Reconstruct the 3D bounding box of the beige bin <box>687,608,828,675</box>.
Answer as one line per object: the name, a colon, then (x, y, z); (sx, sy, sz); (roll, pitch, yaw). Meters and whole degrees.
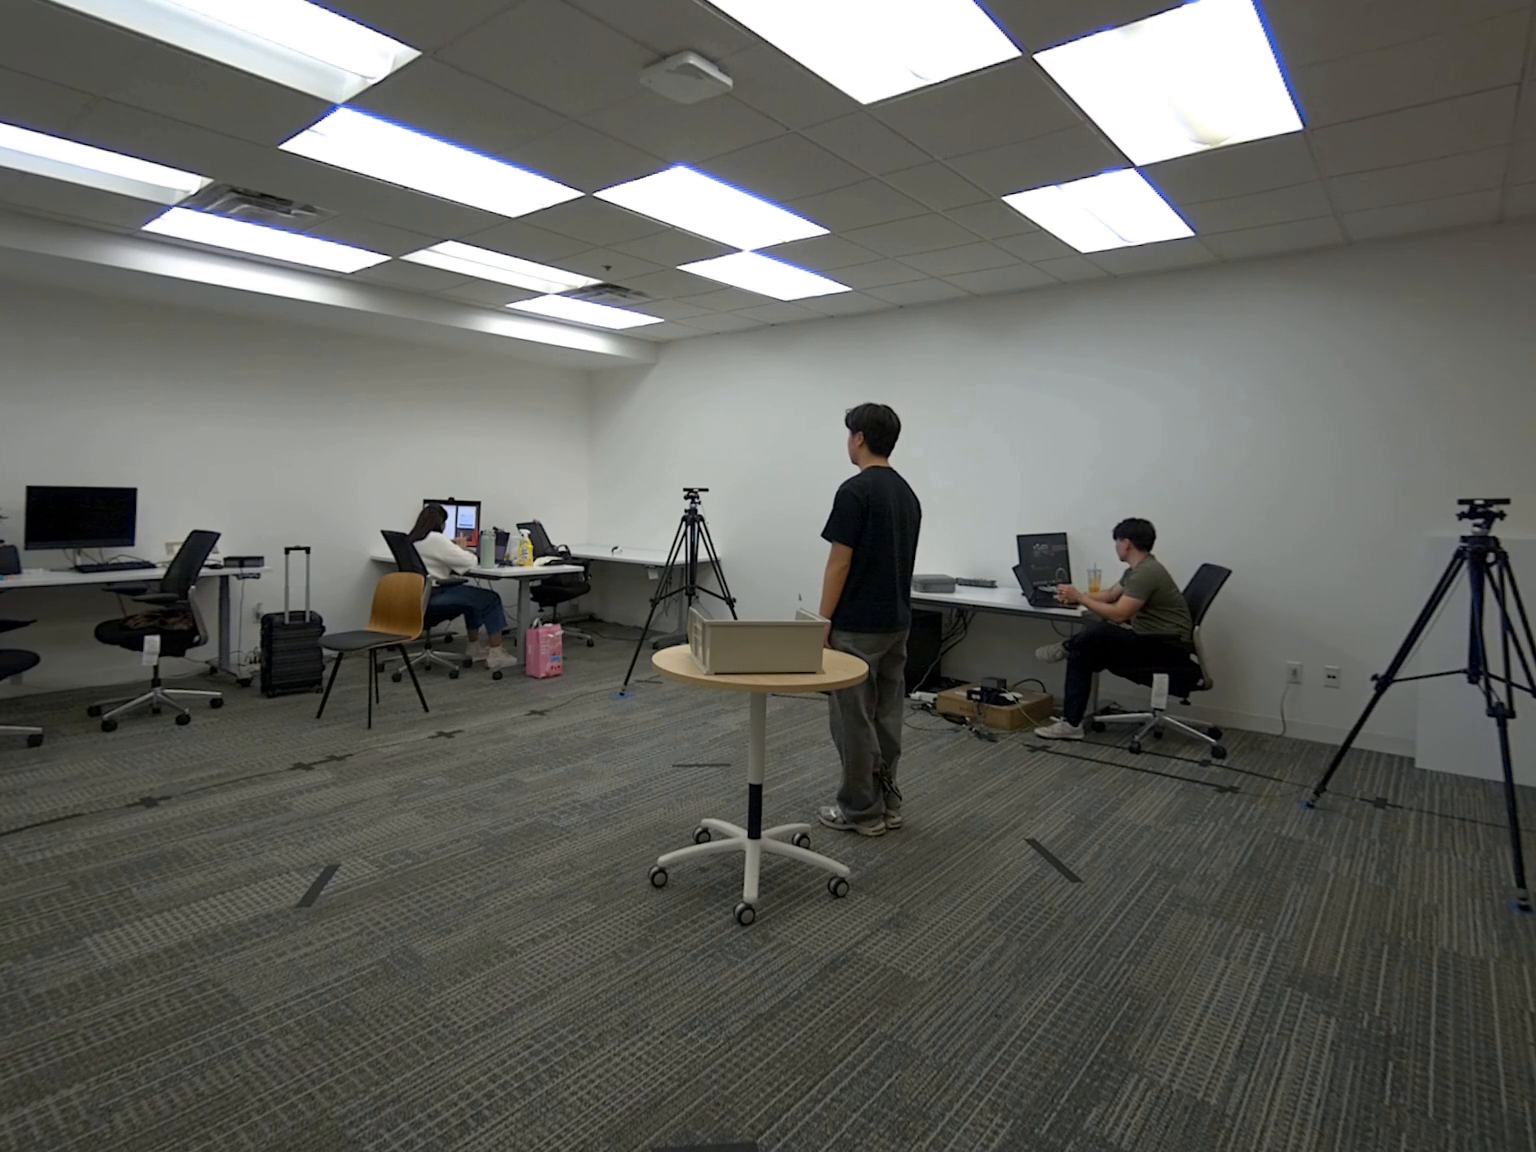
beige bin: (-0.057, 0.214, 2.962); (0.417, 0.188, 0.384); (1, 6, -12)
